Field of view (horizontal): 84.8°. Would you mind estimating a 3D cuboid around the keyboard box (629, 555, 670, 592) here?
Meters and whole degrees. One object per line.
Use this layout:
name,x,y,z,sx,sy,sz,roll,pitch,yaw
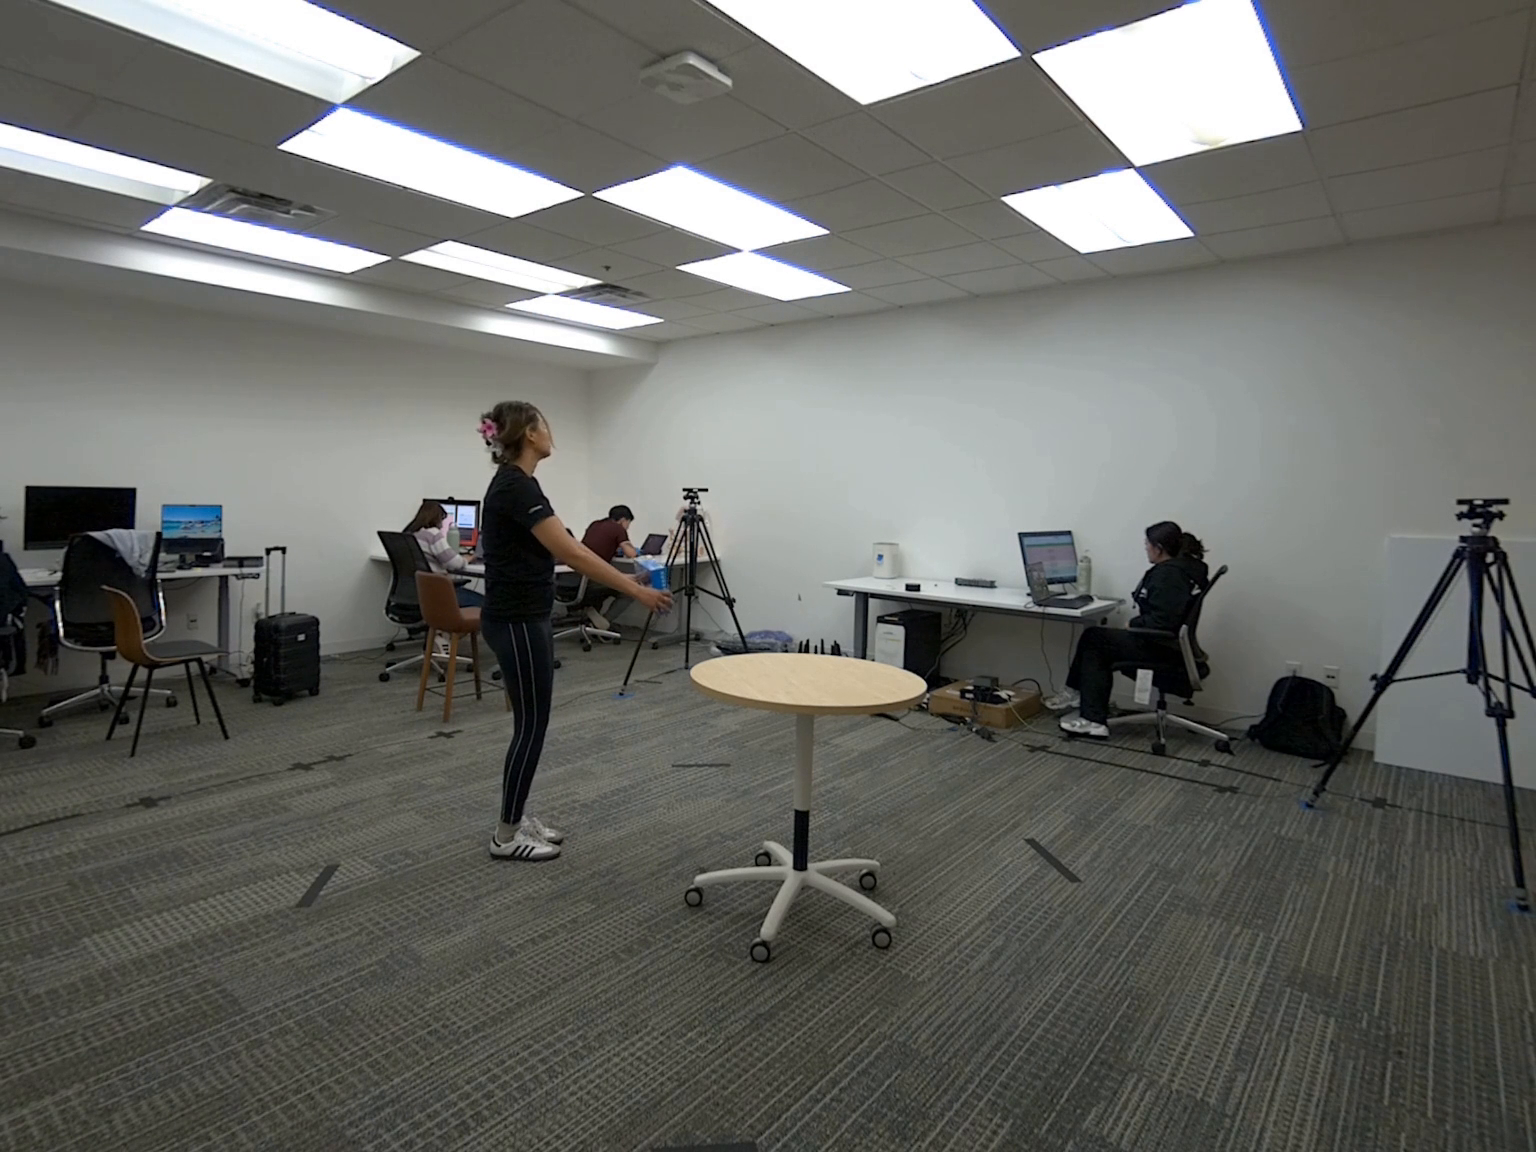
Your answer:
keyboard box,-0.469,0.036,3.330,0.058,0.174,0.446,-10,9,-17
